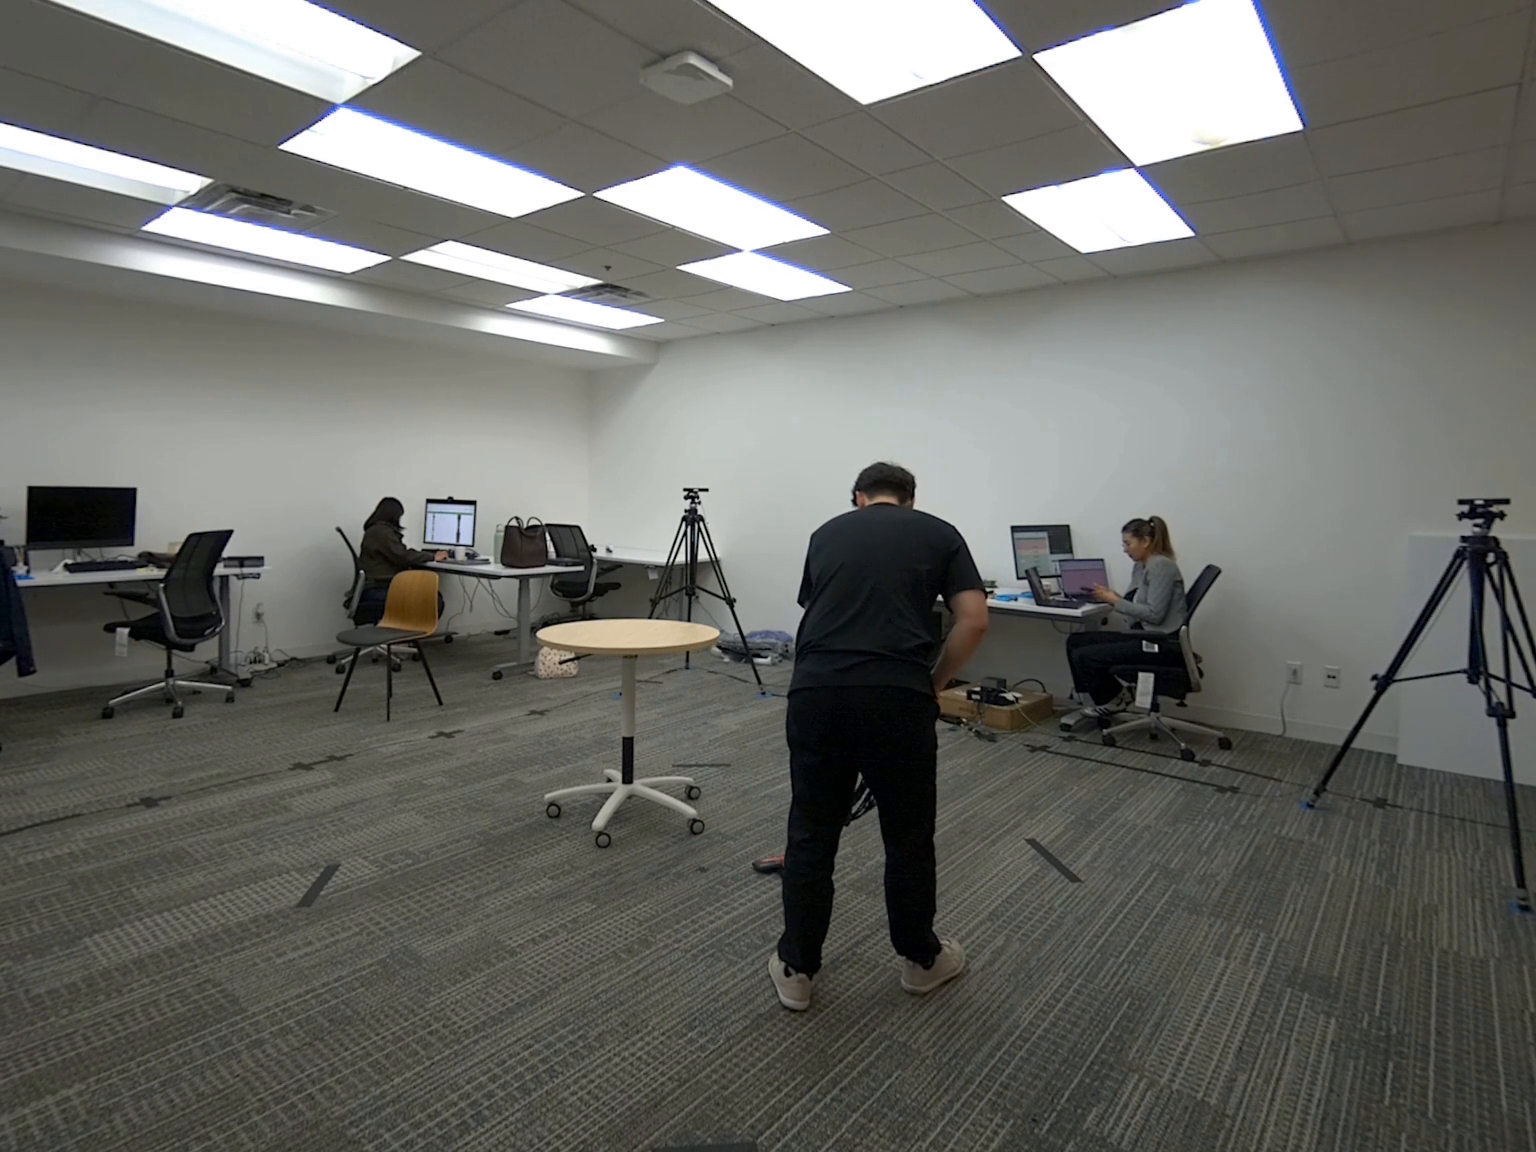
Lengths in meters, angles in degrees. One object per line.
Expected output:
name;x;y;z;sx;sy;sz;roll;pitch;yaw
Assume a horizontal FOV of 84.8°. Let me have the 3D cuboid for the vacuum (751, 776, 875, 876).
vacuum;0.253;0.719;2.781;0.246;0.149;1.037;3;-43;-26
